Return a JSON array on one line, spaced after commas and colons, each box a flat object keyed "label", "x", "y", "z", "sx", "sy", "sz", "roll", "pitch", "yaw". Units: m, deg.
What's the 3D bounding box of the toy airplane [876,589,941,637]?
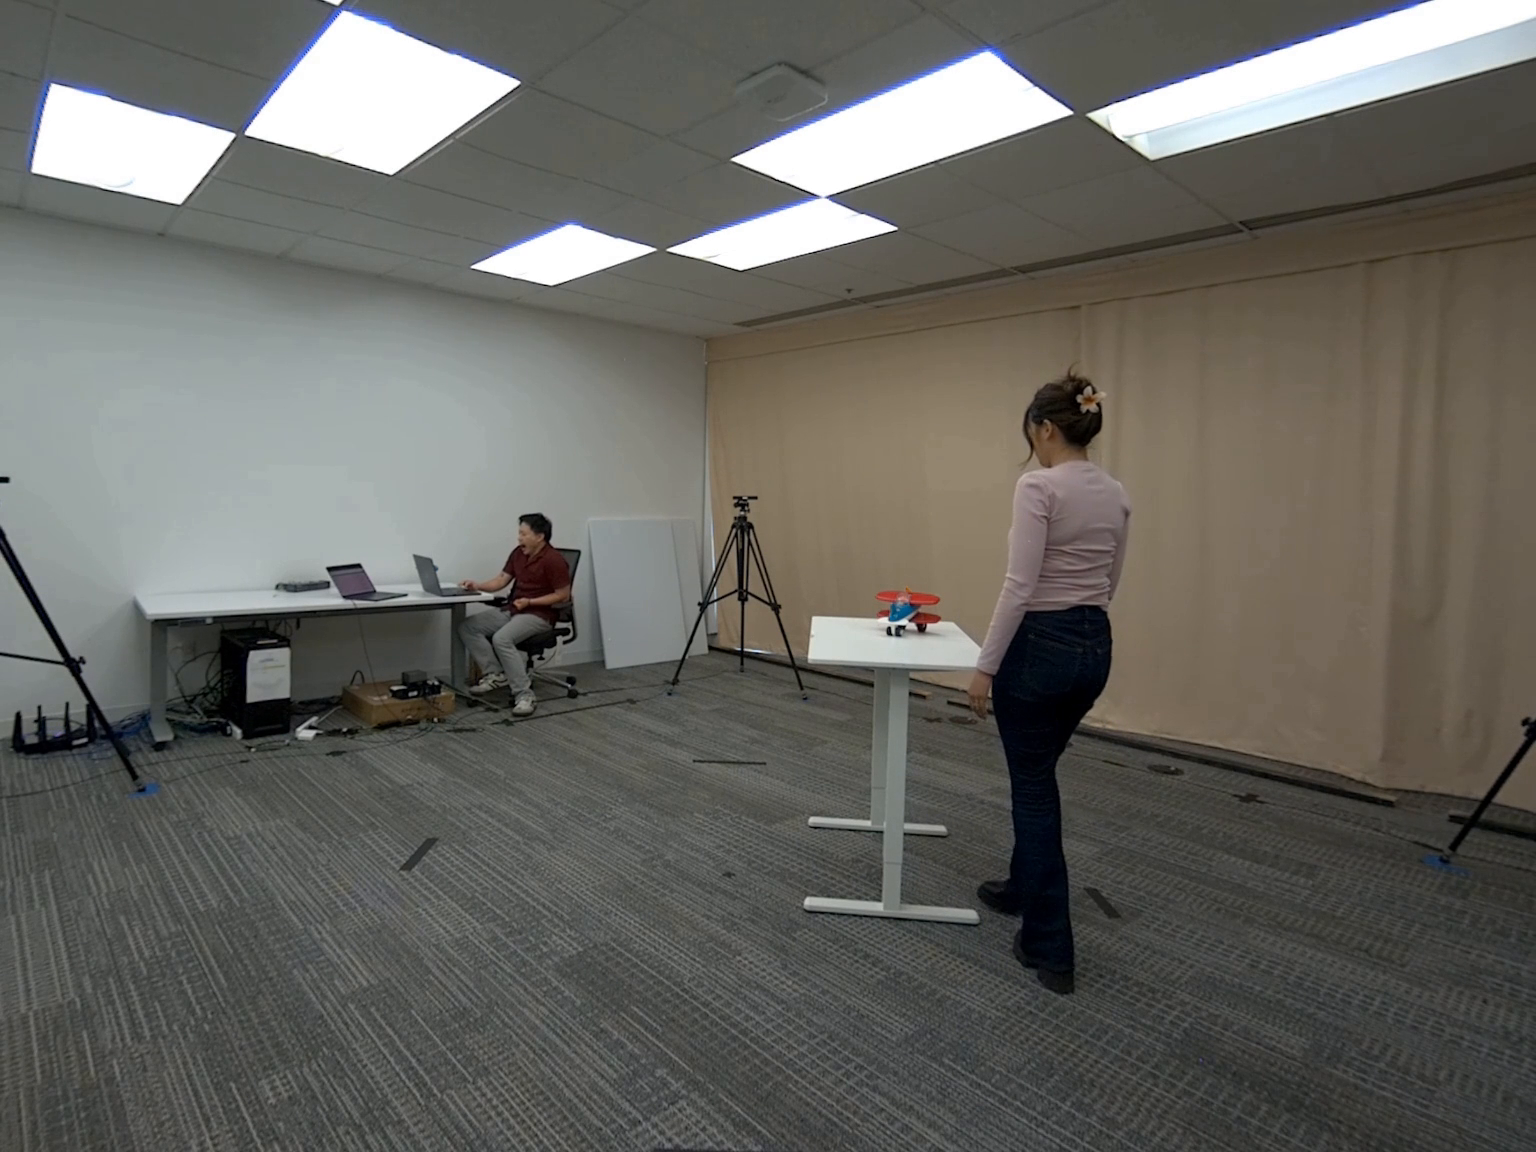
[{"label": "toy airplane", "x": 0.541, "y": 0.147, "z": 3.269, "sx": 0.252, "sy": 0.156, "sz": 0.259, "roll": 2, "pitch": 4, "yaw": 3}]
